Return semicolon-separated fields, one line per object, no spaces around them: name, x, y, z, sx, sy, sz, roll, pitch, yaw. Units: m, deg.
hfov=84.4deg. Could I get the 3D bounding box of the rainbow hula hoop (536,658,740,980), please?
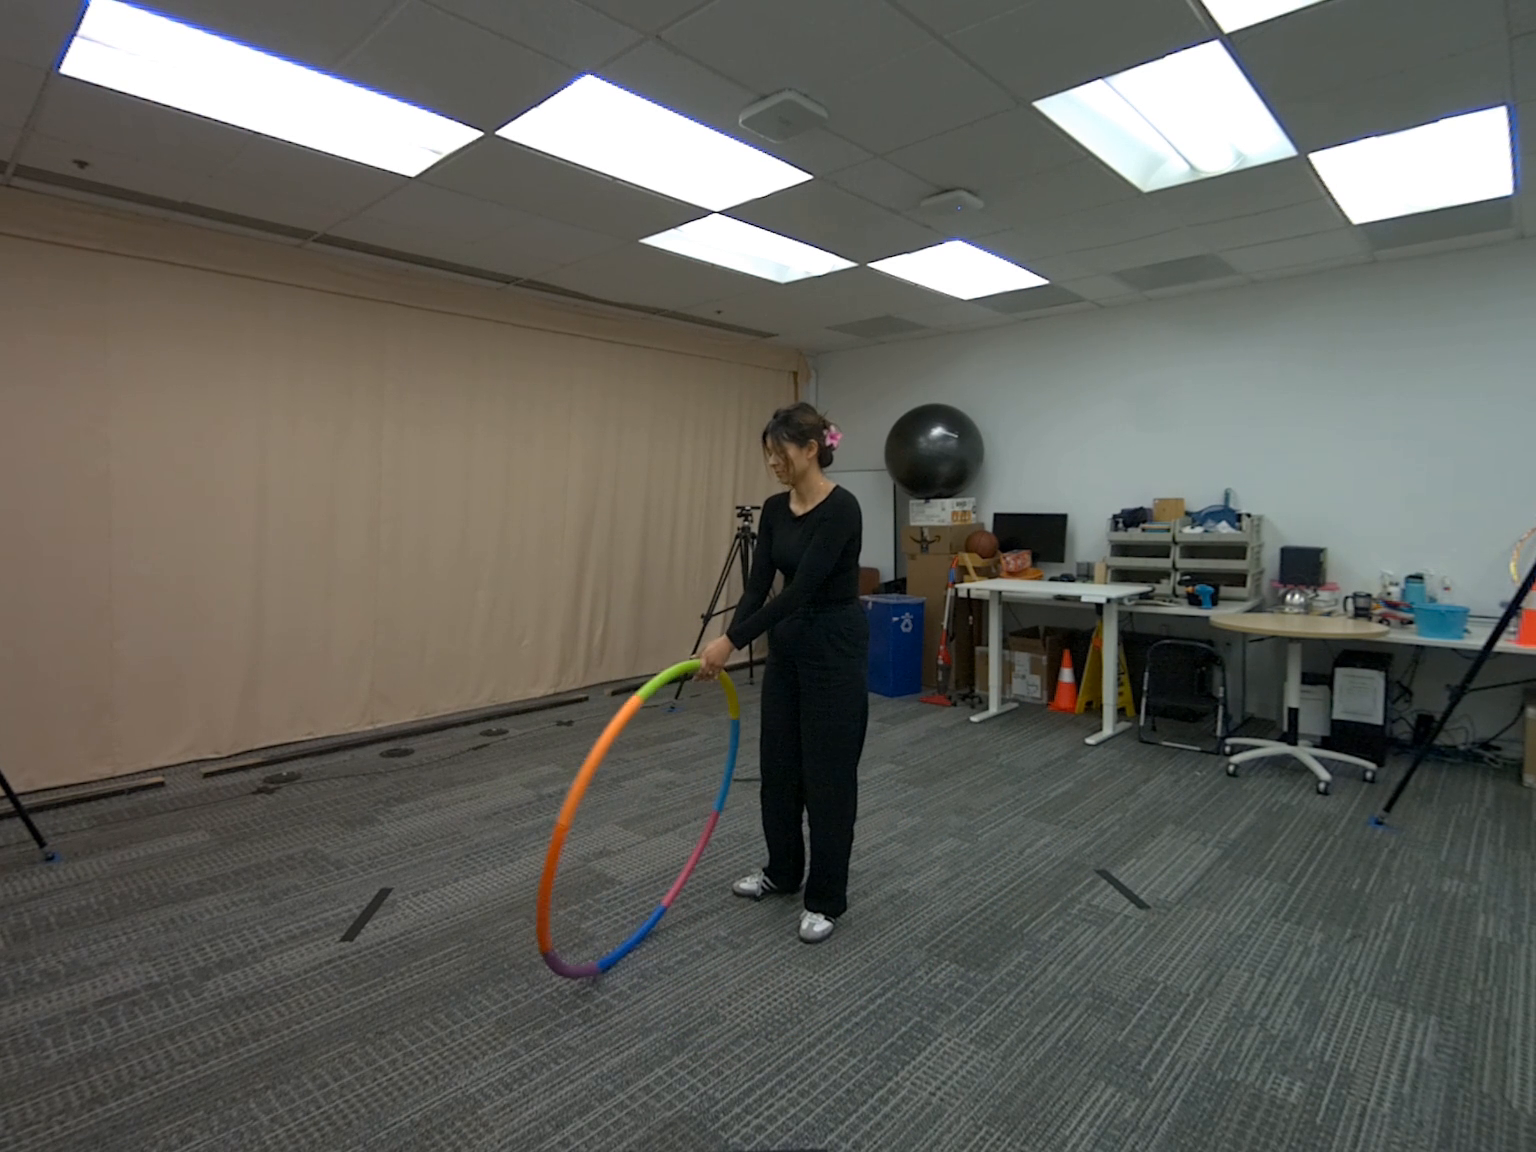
rainbow hula hoop;-0.354;0.717;2.528;0.036;0.975;0.955;19;11;23
